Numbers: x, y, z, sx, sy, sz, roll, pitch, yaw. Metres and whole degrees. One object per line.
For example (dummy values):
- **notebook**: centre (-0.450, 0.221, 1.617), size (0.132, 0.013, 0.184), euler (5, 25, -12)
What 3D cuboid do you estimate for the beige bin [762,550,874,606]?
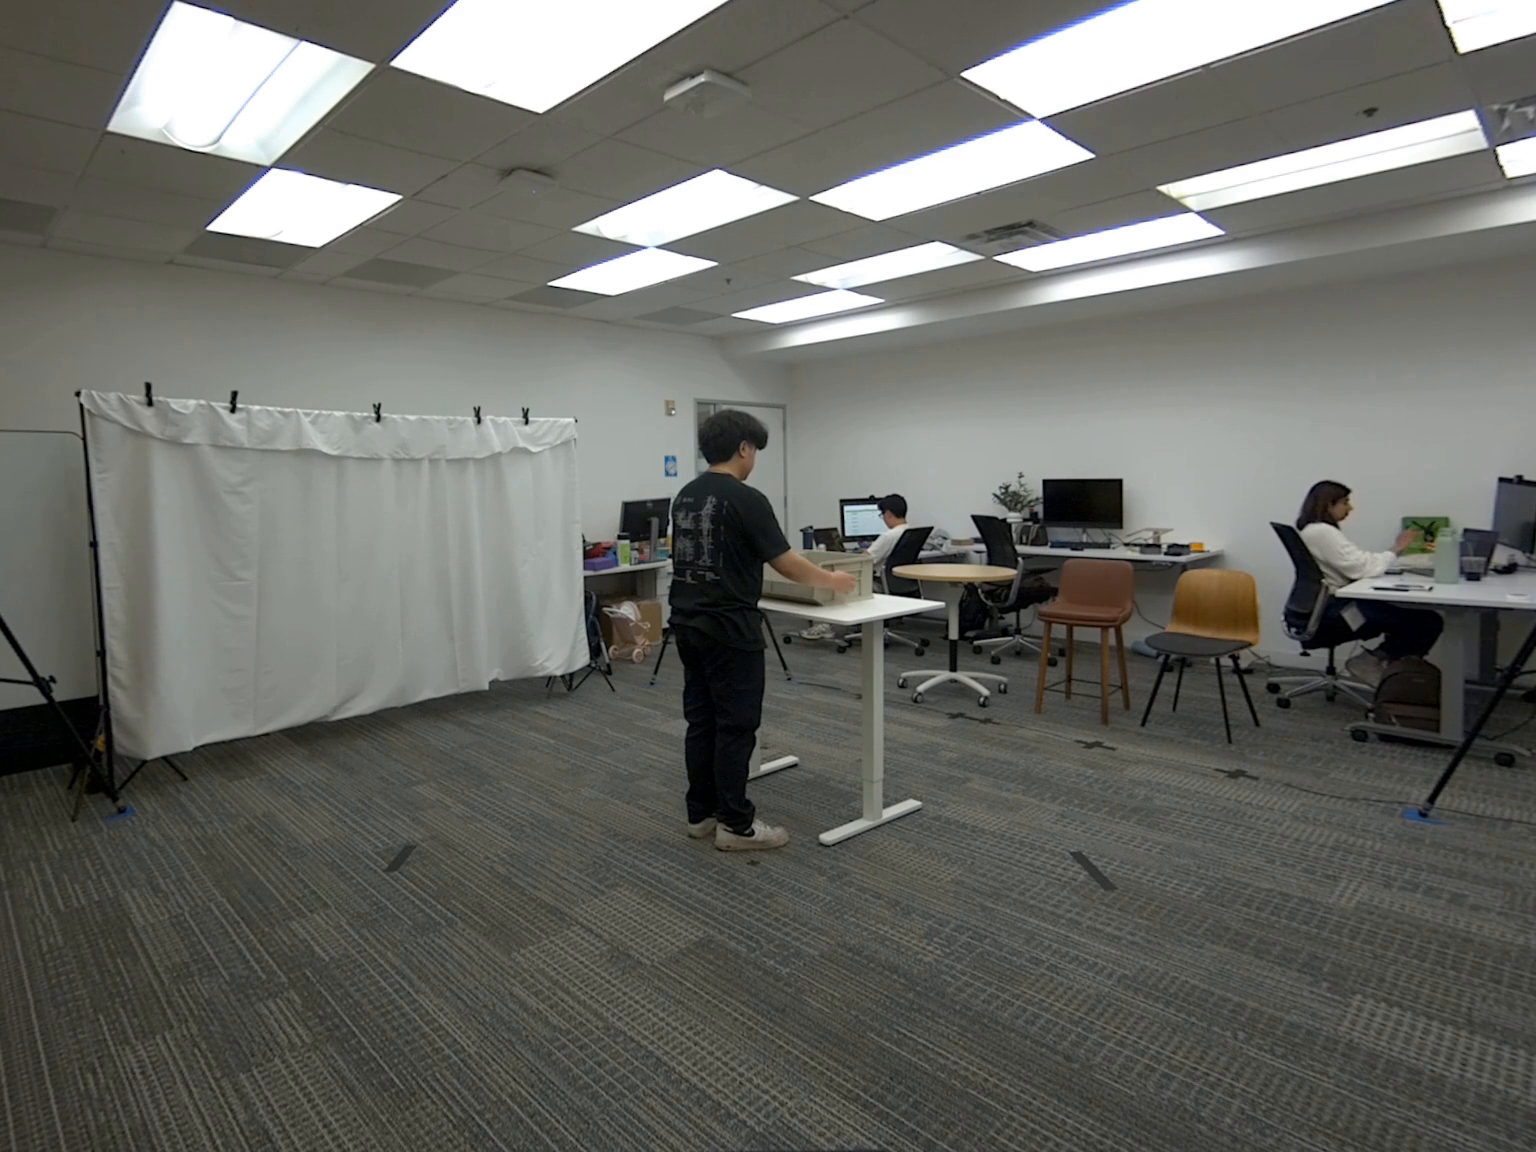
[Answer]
- **beige bin**: centre (0.197, 0.010, 3.645), size (0.367, 0.188, 0.435), euler (-5, 7, -38)
